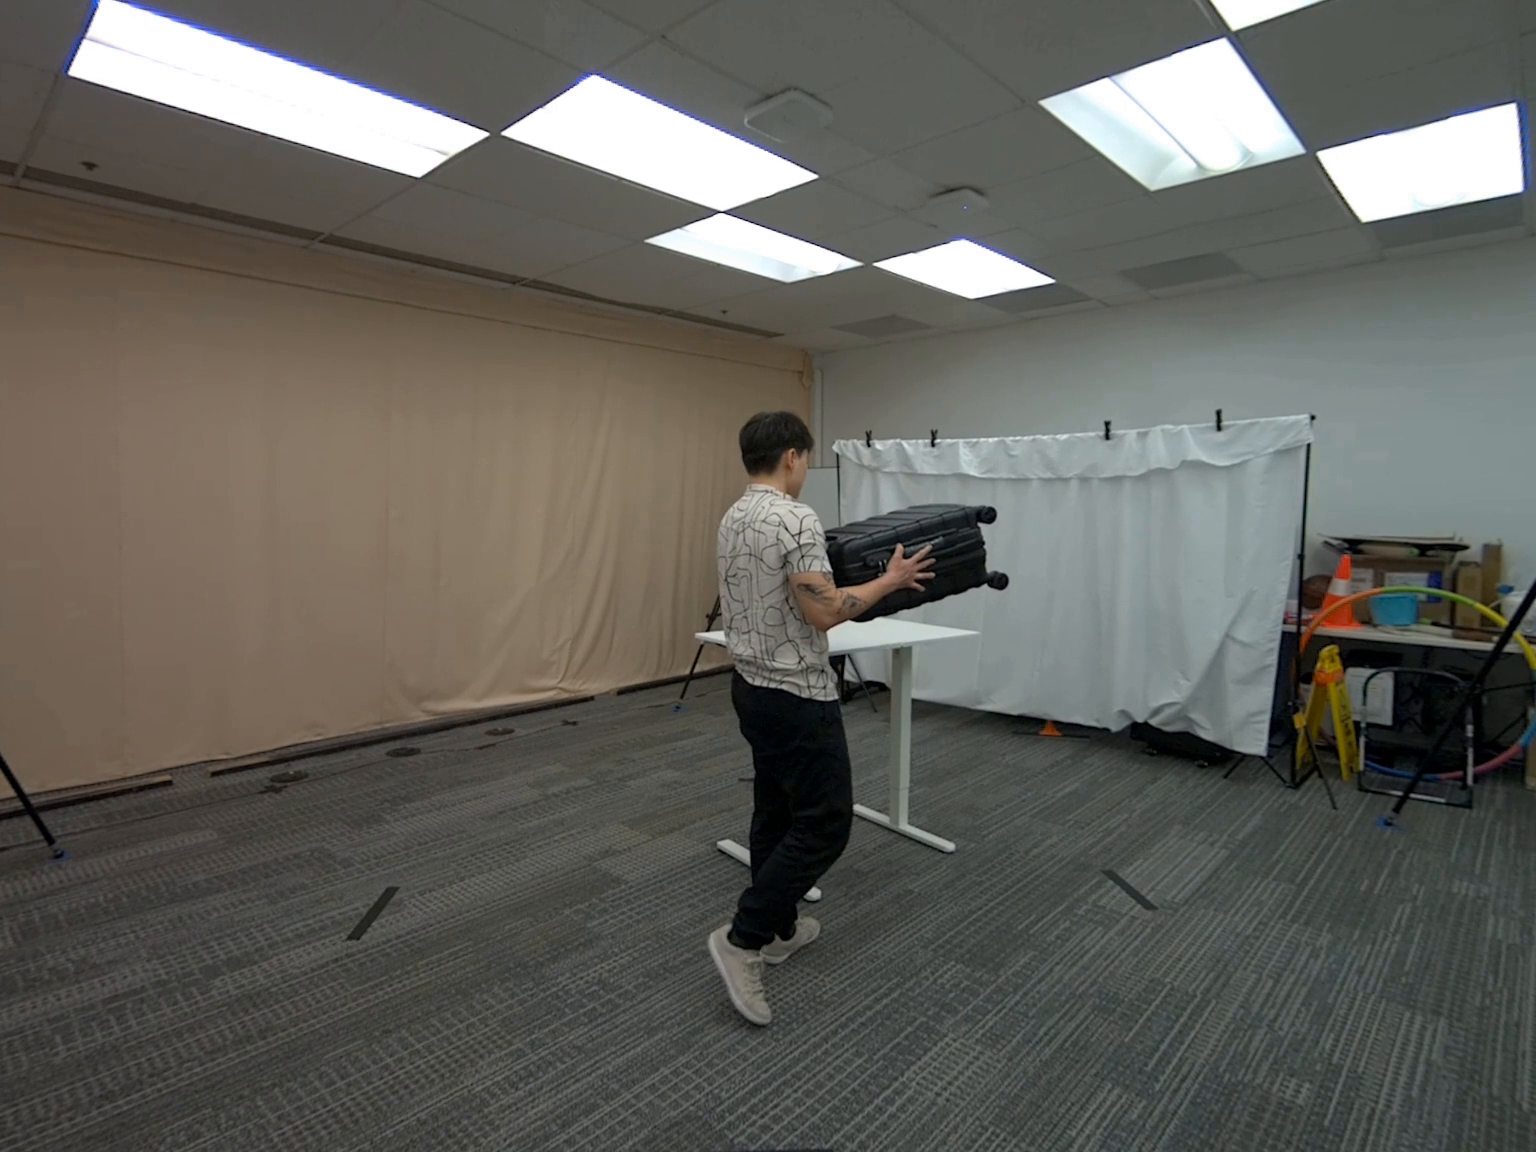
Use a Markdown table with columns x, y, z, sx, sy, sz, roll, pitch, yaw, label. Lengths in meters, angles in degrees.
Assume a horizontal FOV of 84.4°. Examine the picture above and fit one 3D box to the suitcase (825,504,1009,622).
| x | y | z | sx | sy | sz | roll | pitch | yaw | label |
| --- | --- | --- | --- | --- | --- | --- | --- | --- | --- |
| 0.405 | -0.045 | 2.595 | 0.540 | 0.246 | 0.385 | -15 | 12 | -21 | suitcase |
